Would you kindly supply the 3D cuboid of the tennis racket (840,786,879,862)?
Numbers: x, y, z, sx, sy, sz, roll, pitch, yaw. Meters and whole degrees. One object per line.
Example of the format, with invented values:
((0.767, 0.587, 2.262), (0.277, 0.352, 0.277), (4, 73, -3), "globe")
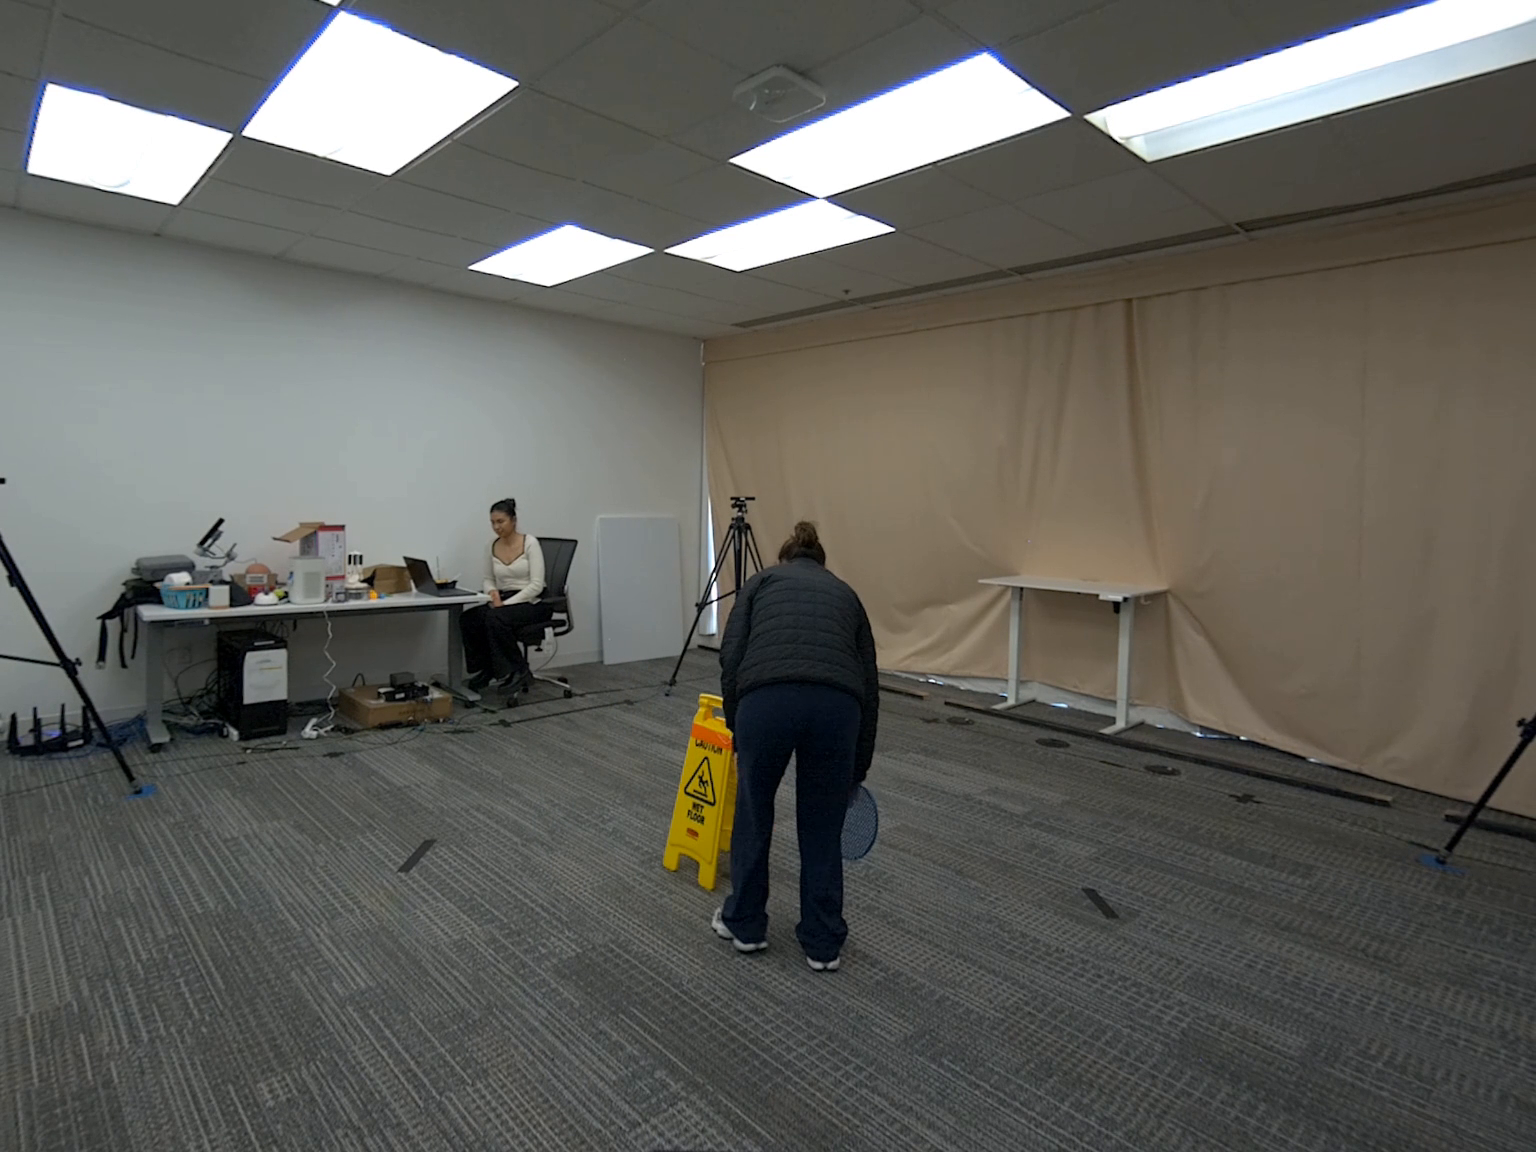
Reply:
((0.238, 0.879, 2.749), (0.031, 0.429, 0.220), (9, 23, -33), "tennis racket")
